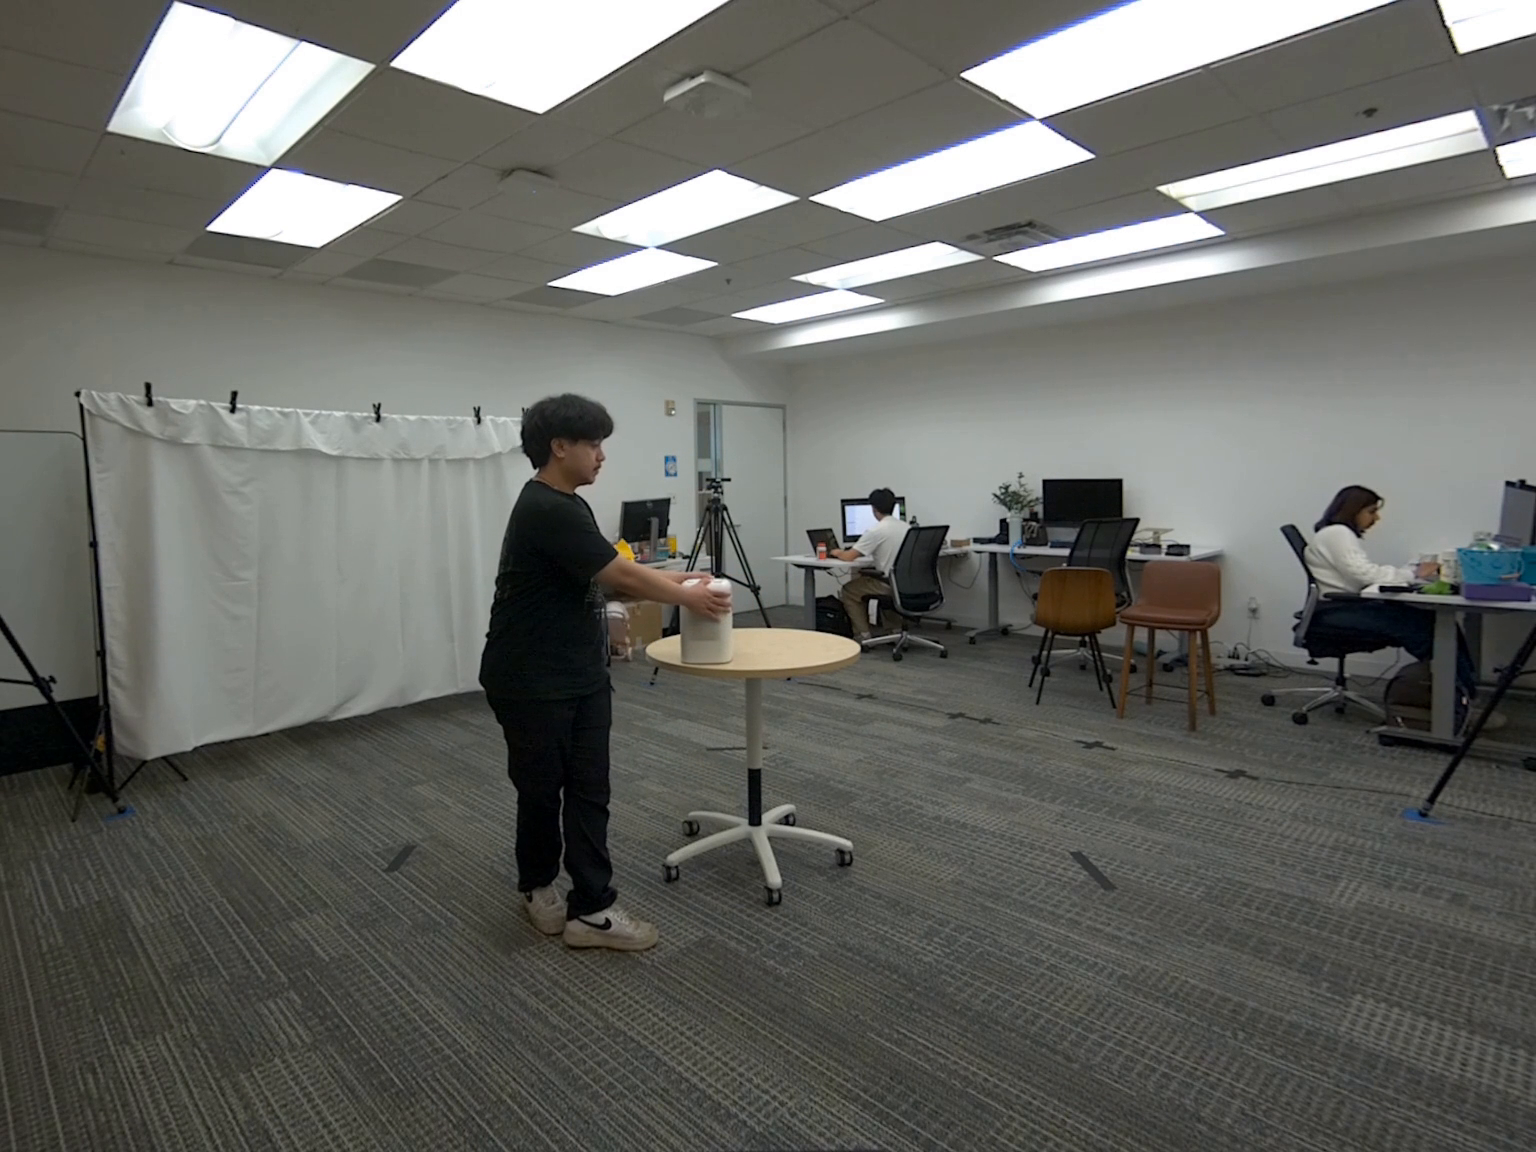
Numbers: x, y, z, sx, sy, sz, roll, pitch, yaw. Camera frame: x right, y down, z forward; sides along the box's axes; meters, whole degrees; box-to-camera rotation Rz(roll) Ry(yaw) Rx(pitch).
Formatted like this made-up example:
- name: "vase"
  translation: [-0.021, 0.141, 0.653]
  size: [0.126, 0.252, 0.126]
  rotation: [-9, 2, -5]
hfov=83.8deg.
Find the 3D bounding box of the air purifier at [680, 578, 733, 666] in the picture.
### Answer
- name: "air purifier"
  translation: [-0.200, 0.151, 2.849]
  size: [0.172, 0.263, 0.172]
  rotation: [-2, 8, 0]
